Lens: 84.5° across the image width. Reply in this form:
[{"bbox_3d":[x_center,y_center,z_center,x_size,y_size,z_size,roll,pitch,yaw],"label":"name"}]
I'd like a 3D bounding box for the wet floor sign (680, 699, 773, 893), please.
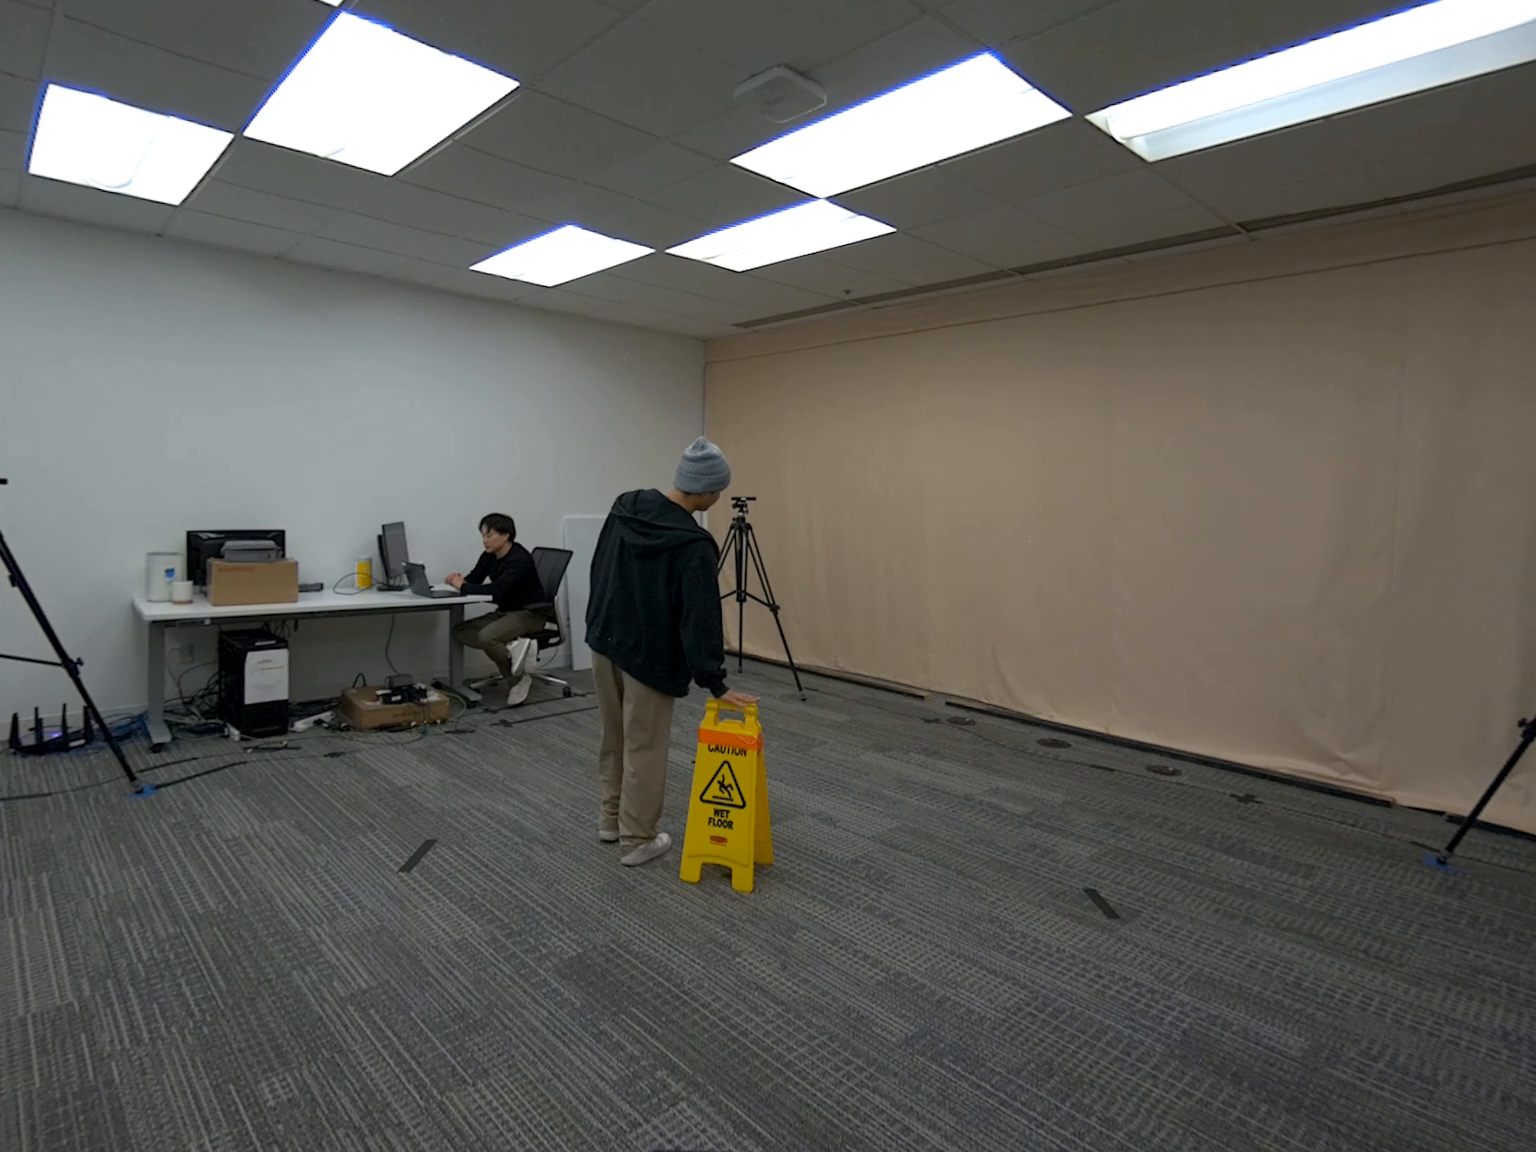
[{"bbox_3d":[-0.145,0.780,3.127,0.286,0.645,0.286,3,3,17],"label":"wet floor sign"}]
